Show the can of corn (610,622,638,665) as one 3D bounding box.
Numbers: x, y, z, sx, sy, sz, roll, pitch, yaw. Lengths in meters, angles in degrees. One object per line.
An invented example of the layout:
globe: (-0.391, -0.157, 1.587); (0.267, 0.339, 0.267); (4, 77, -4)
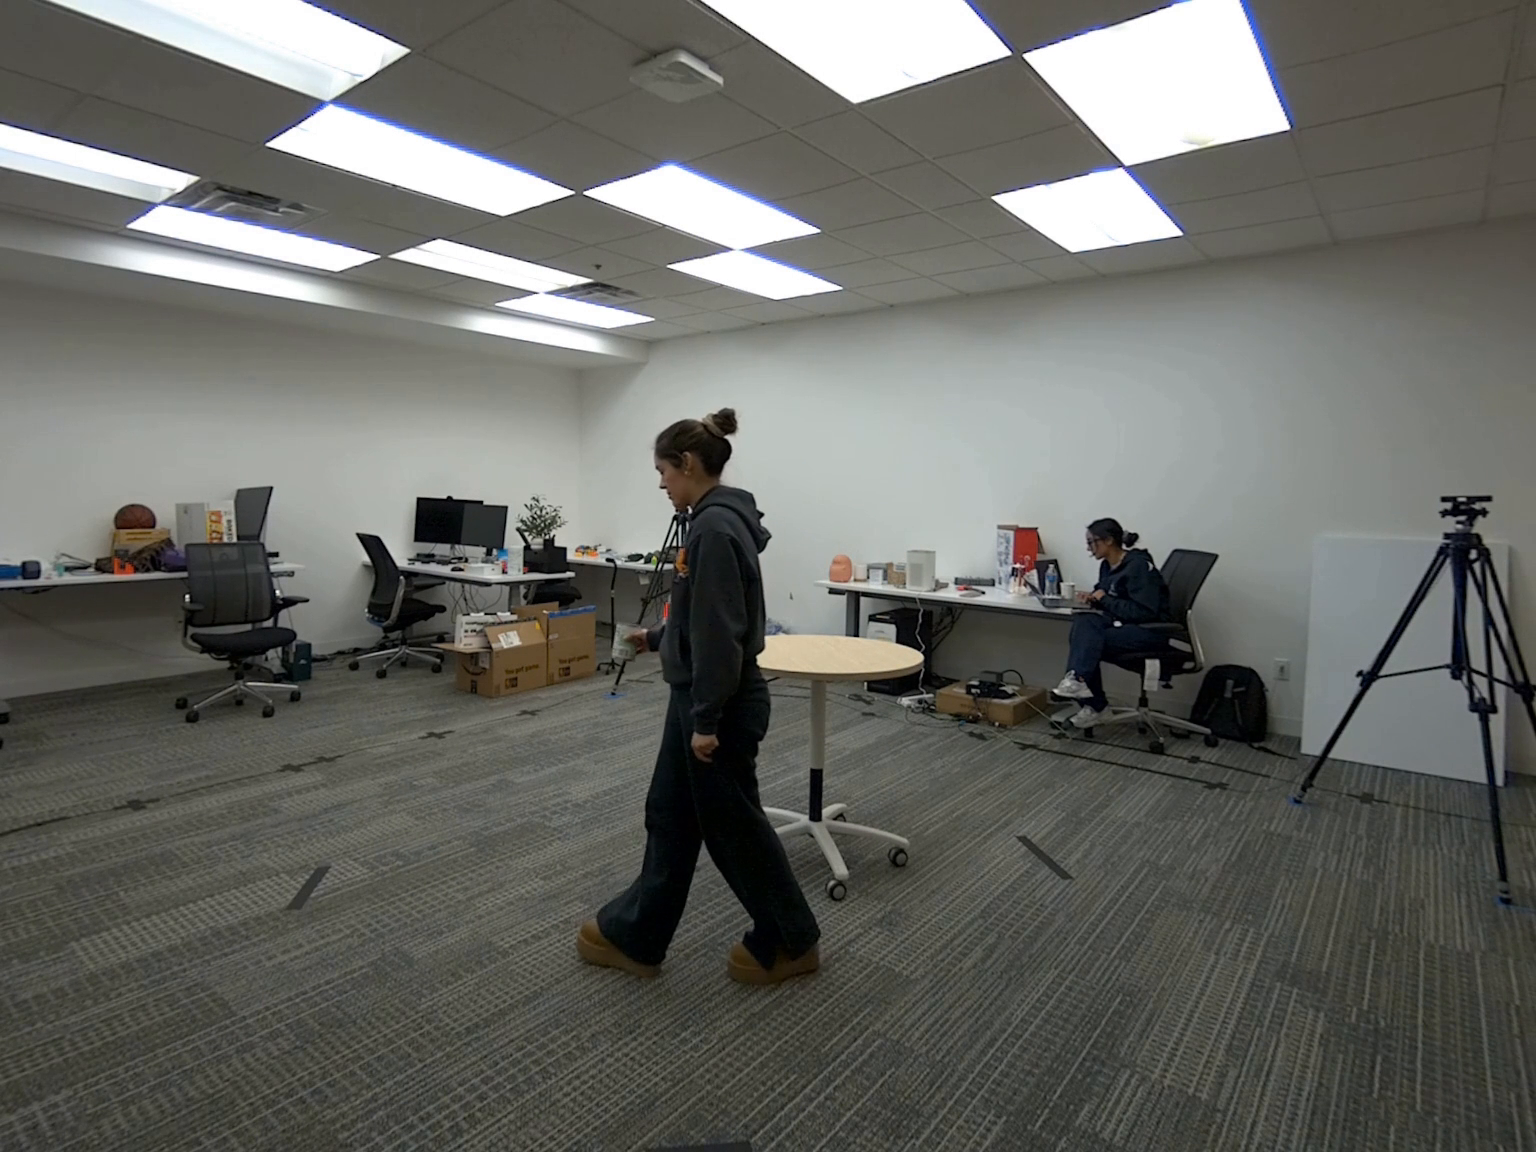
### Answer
can of corn: (-0.438, 0.202, 2.642); (0.074, 0.111, 0.074); (4, -3, -2)
